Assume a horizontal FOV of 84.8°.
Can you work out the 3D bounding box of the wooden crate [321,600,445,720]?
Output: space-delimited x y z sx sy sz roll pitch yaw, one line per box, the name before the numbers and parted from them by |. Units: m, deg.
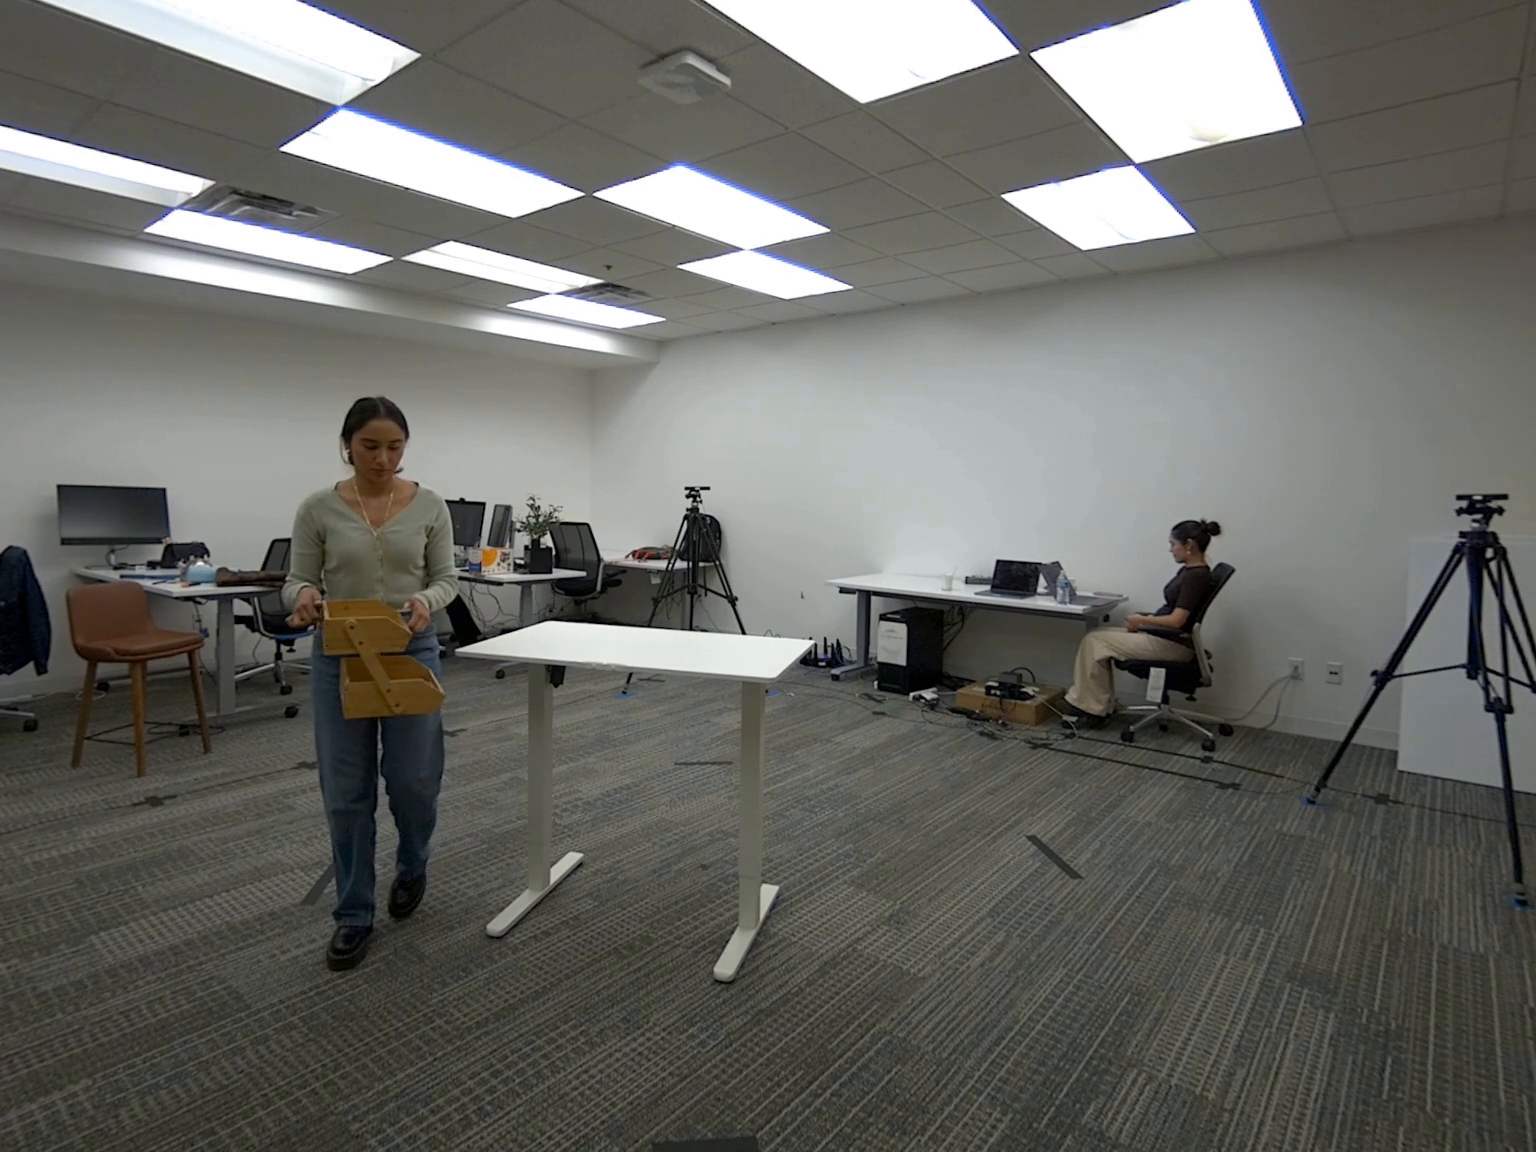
wooden crate | -1.067 0.208 2.342 0.295 0.272 0.334 -2 7 -27
